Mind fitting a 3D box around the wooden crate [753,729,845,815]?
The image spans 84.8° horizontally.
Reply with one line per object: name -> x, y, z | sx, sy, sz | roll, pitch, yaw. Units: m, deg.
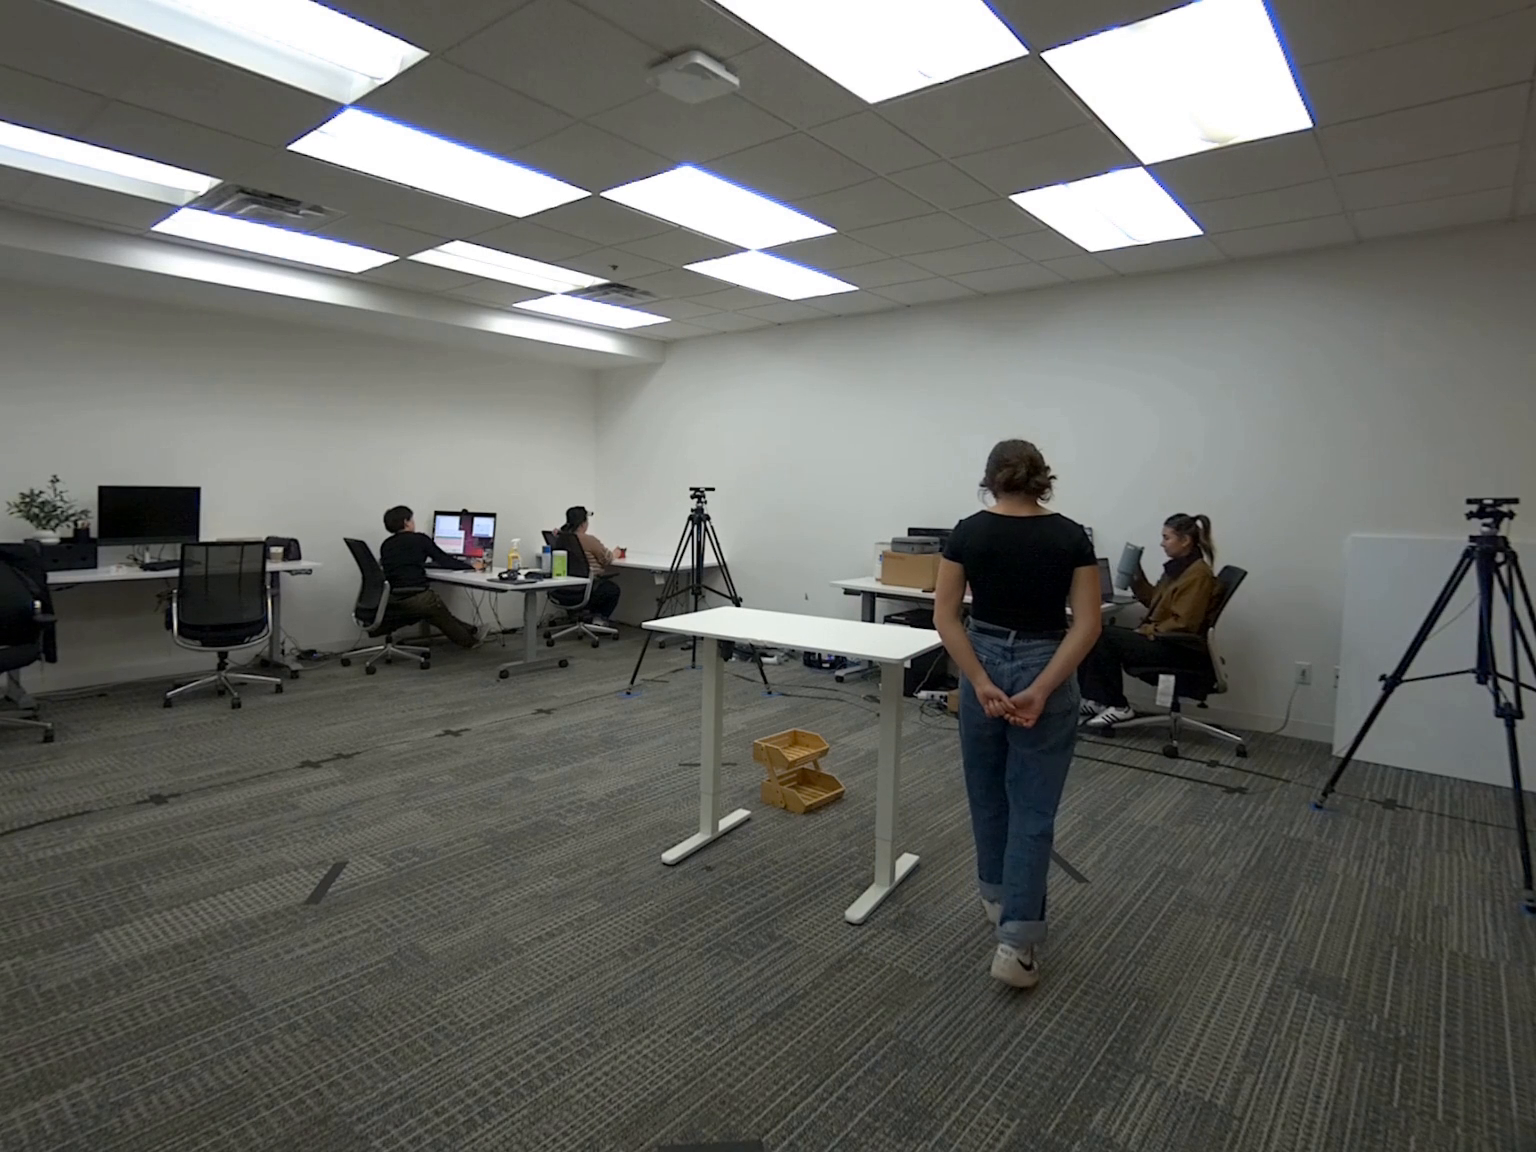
wooden crate -> 0.136, 0.869, 3.842 | 0.312, 0.272, 0.315 | 4, 5, 41
